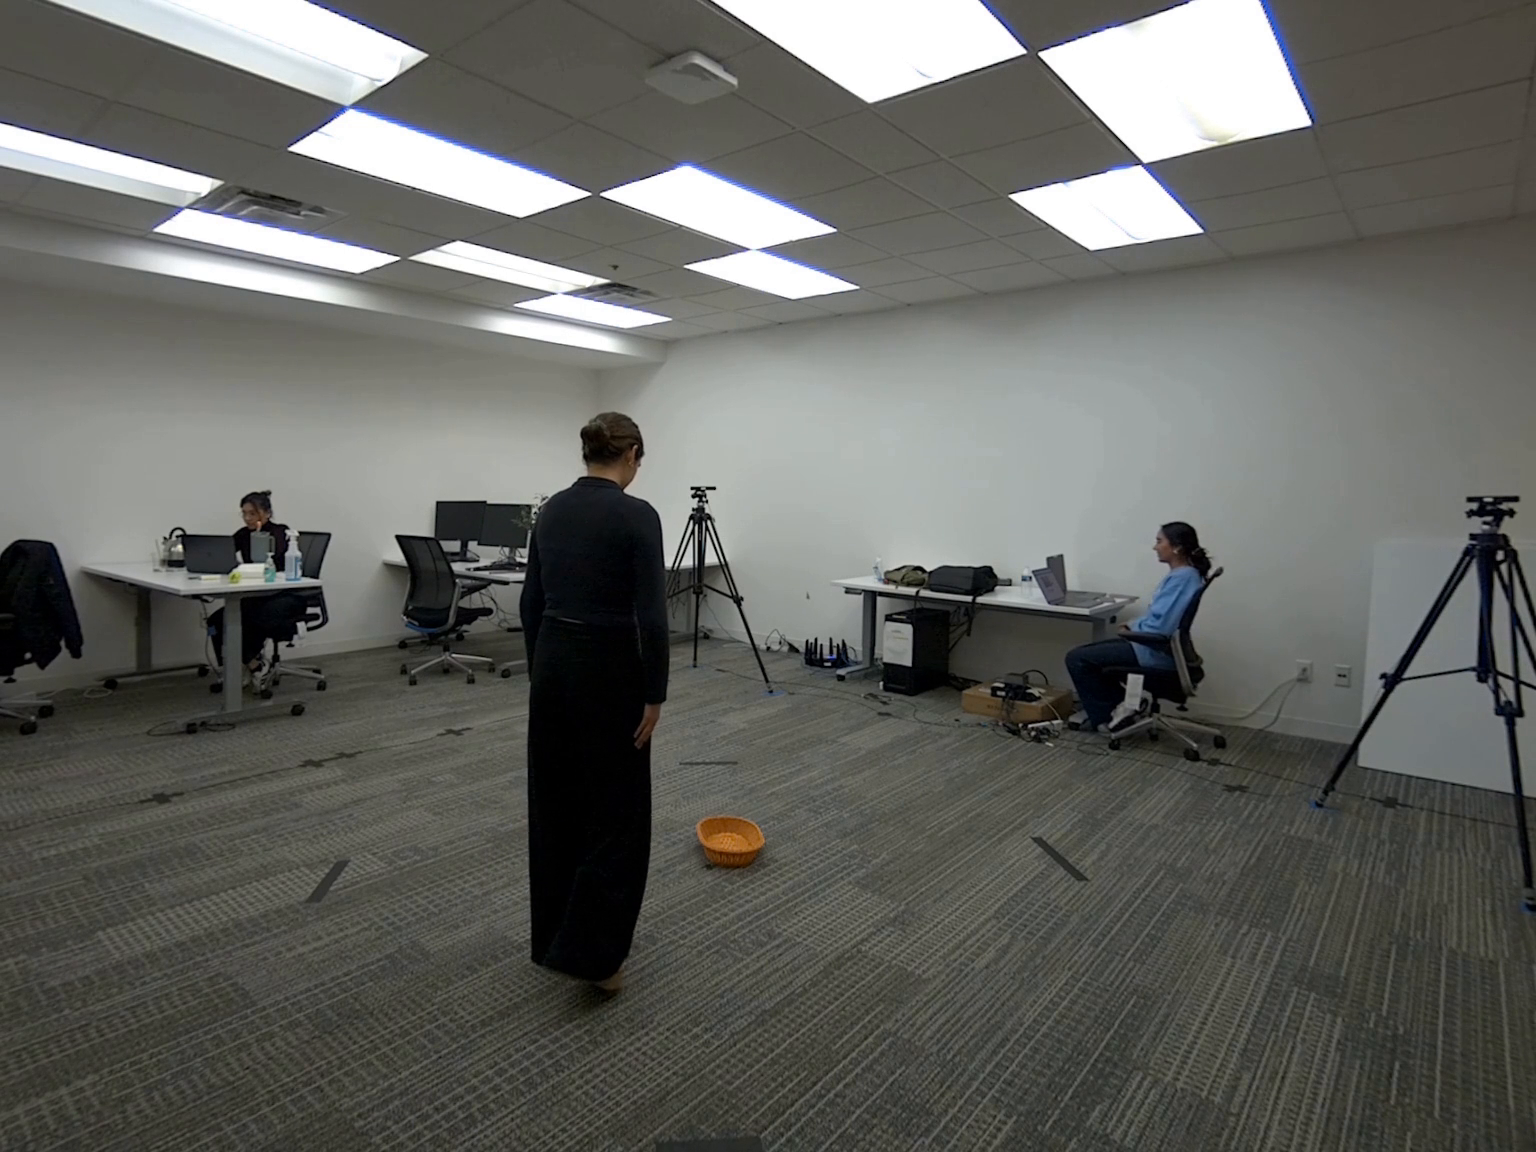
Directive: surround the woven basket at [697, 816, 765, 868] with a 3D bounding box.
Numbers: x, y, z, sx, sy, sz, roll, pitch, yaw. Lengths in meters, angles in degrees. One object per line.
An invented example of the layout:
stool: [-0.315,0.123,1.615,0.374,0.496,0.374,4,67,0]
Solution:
woven basket: [-0.155,1.010,3.253,0.249,0.073,0.356,1,5,-11]
